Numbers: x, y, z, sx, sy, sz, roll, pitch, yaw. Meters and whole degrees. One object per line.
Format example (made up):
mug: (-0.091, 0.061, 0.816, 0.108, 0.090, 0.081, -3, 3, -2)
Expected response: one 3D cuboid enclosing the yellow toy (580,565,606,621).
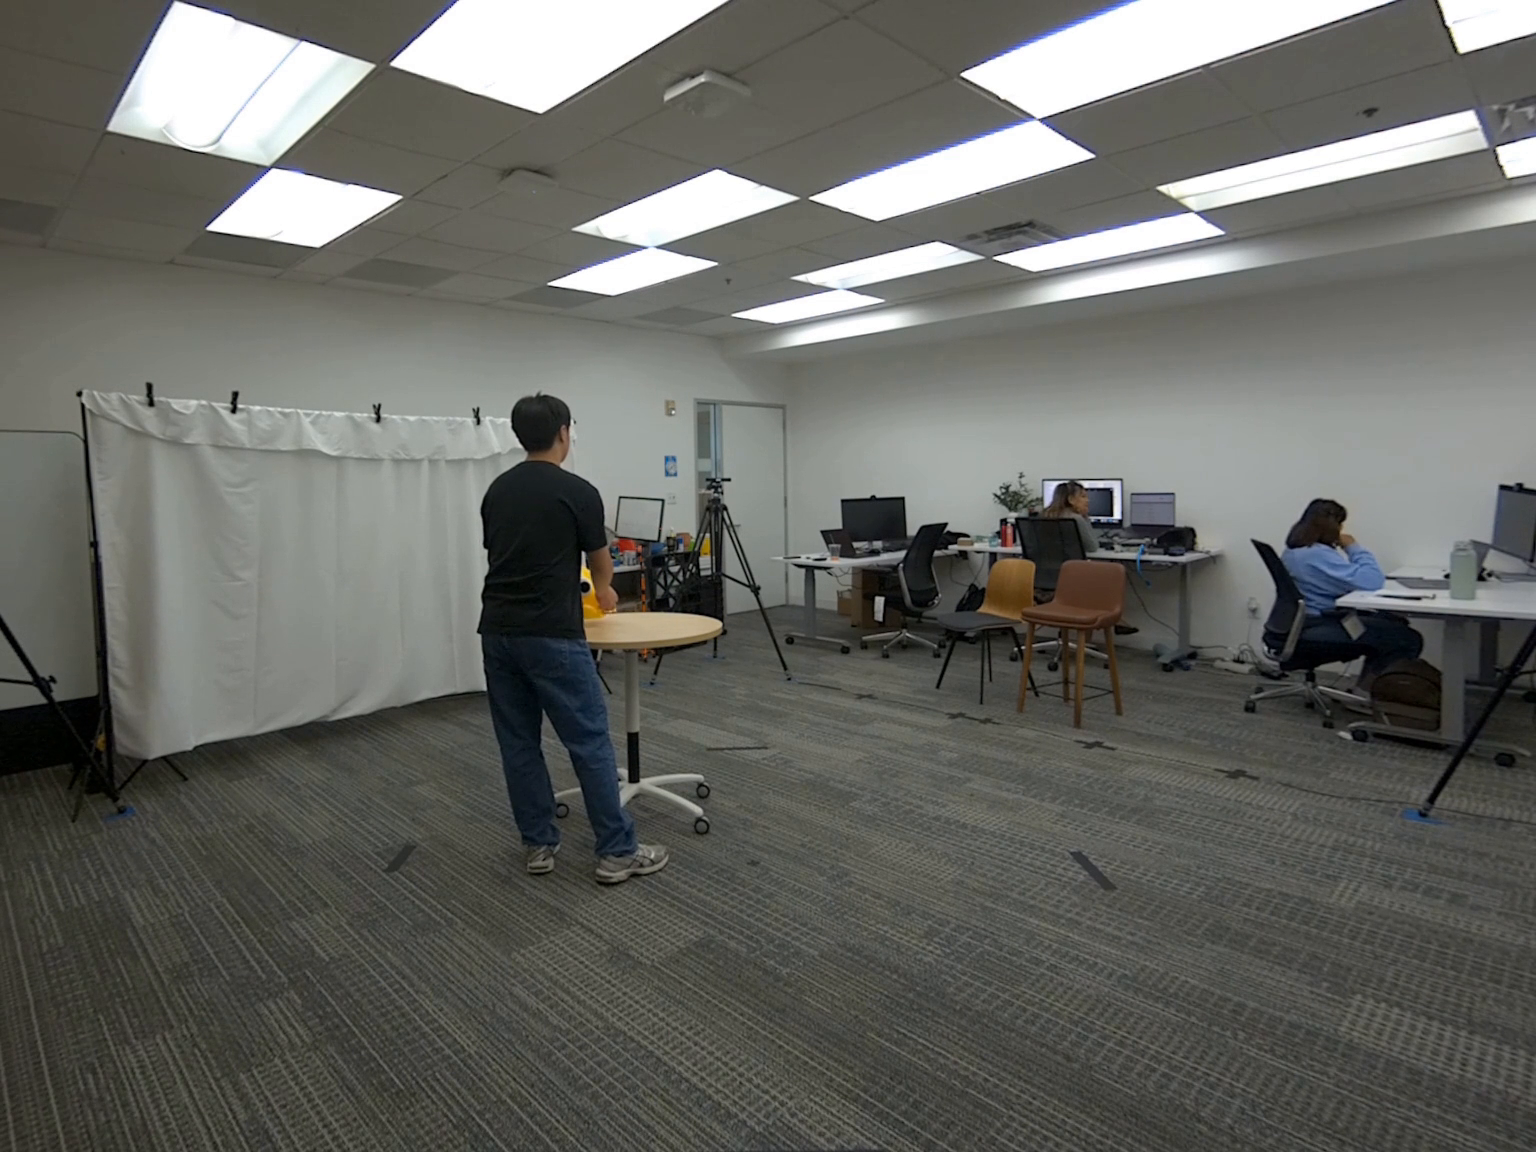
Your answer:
yellow toy: (-0.755, 0.050, 3.594, 0.196, 0.229, 0.203, -3, 7, 15)
